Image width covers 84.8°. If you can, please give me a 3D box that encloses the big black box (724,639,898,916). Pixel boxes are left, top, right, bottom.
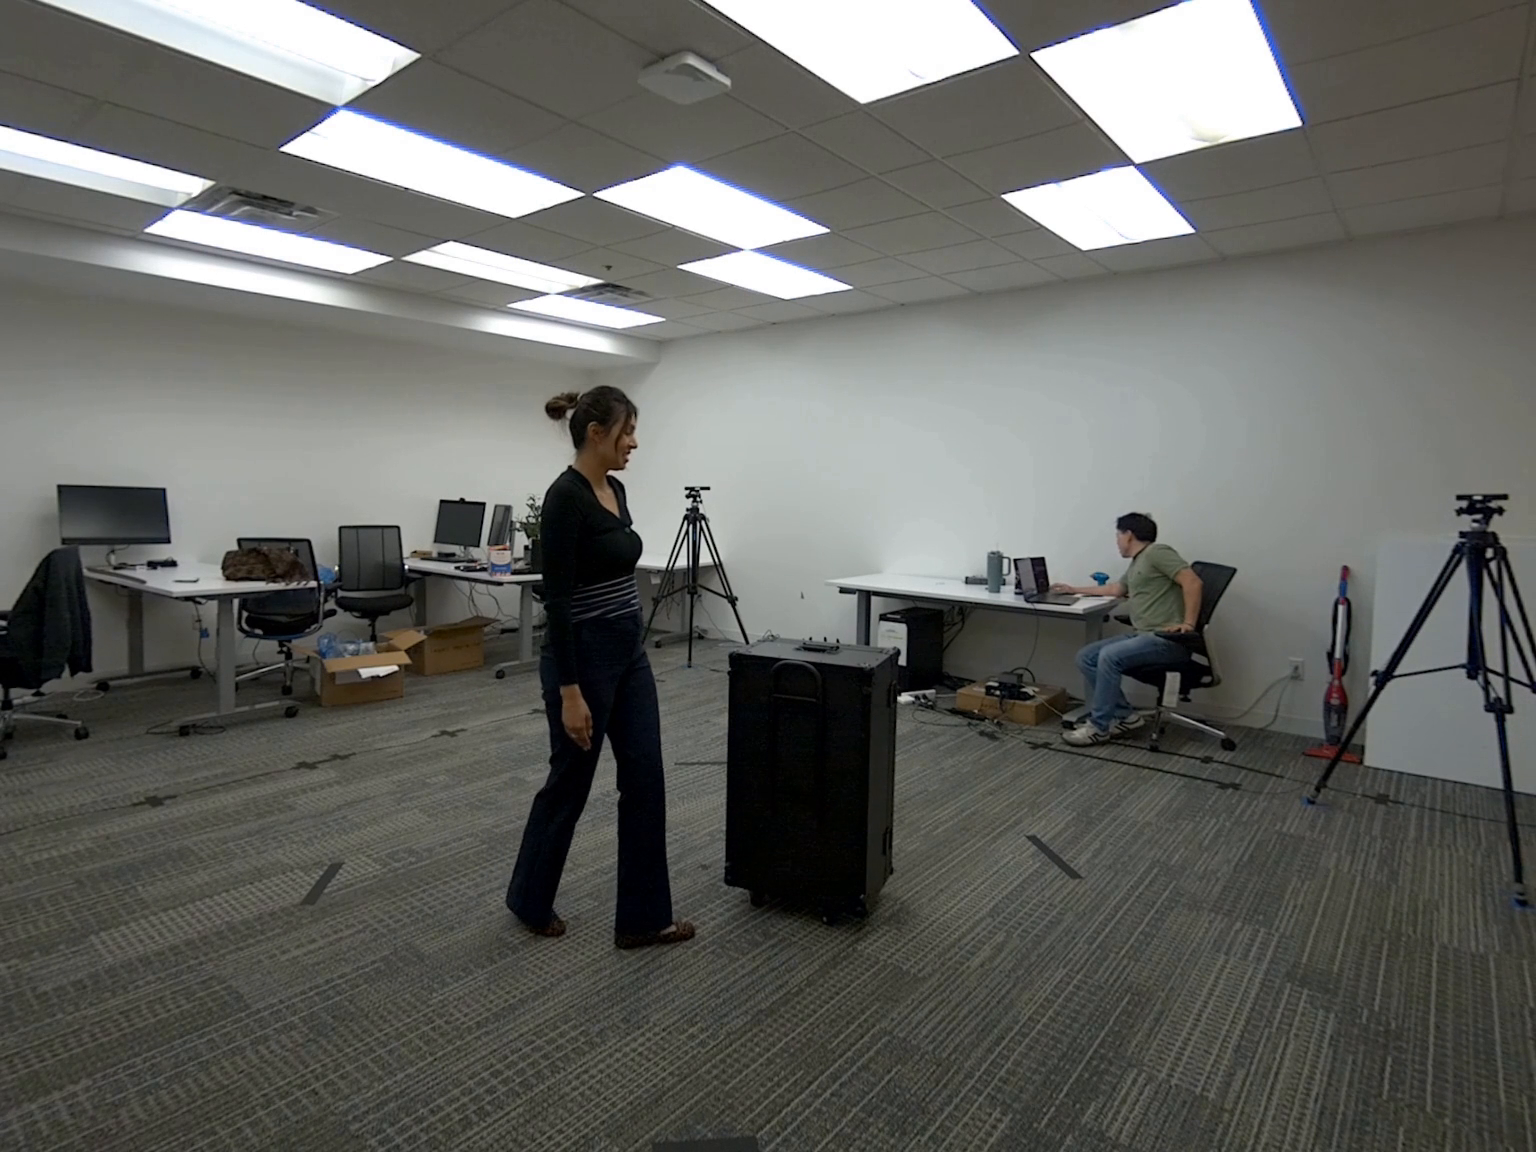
[{"bbox_3d":[0.145,0.671,2.856,0.535,0.858,0.388,3,5,25],"label":"big black box"}]
